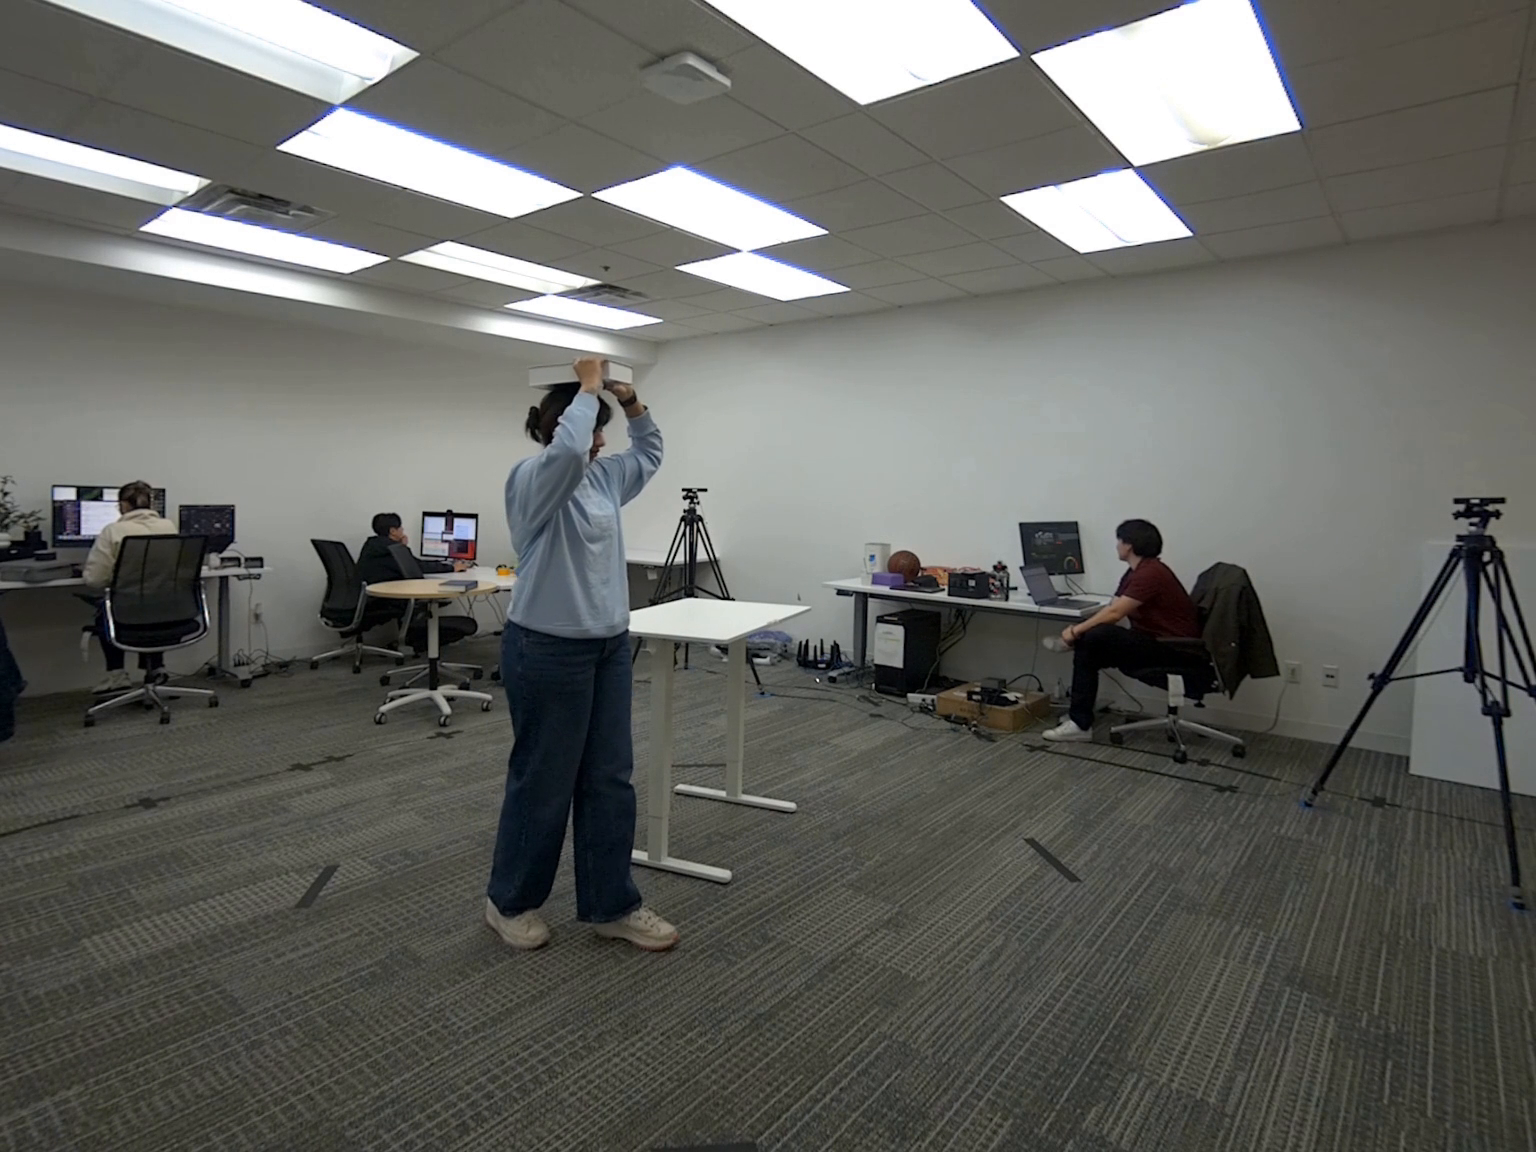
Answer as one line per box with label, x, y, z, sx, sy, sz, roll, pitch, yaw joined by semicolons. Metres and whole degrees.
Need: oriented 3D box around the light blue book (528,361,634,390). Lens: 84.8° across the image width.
light blue book;-0.556;-0.599;2.539;0.263;0.059;0.191;-1;6;5
